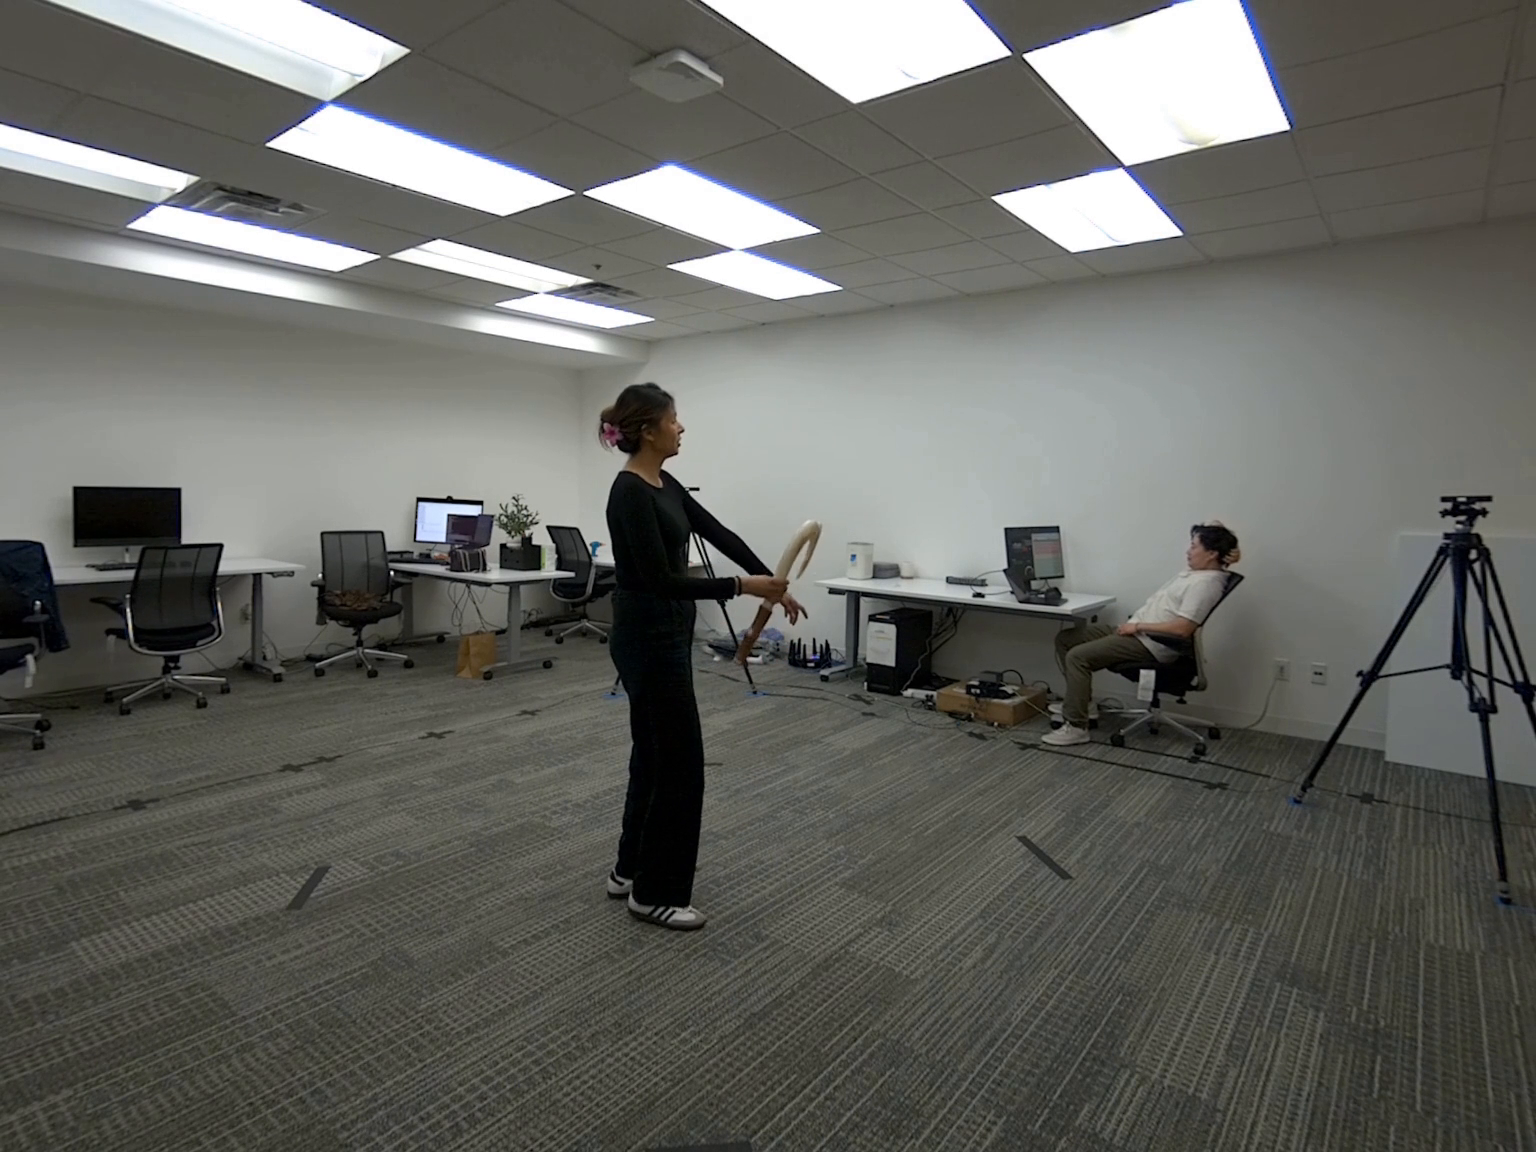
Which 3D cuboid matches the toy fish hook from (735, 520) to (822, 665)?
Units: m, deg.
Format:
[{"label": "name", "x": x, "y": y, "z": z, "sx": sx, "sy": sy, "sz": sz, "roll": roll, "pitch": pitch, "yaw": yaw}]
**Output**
[{"label": "toy fish hook", "x": 0.026, "y": 0.053, "z": 2.662, "sx": 0.050, "sy": 0.505, "sz": 0.218, "roll": 30, "pitch": 6, "yaw": 24}]
